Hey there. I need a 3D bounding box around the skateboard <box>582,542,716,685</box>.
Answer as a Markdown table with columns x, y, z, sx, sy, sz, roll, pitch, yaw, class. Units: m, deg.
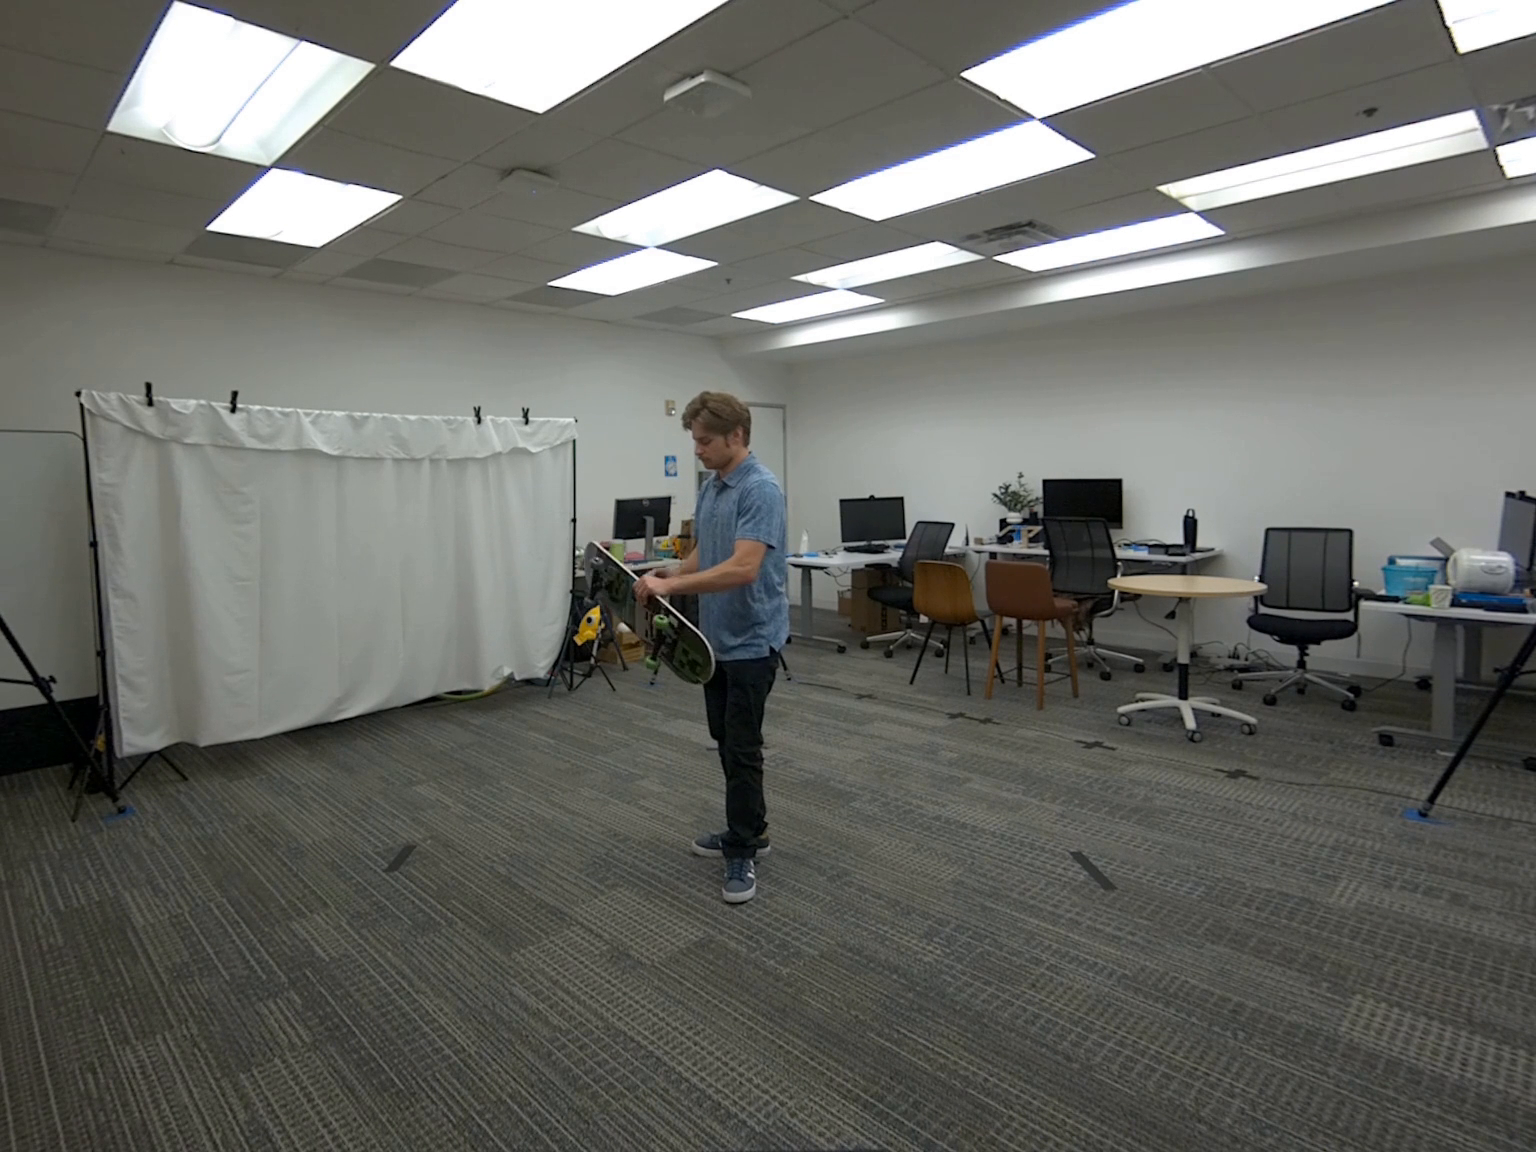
| x | y | z | sx | sy | sz | roll | pitch | yaw | class |
| --- | --- | --- | --- | --- | --- | --- | --- | --- | --- |
| -0.447 | 0.112 | 2.854 | 0.107 | 0.191 | 0.817 | -7 | 32 | -40 | skateboard |
